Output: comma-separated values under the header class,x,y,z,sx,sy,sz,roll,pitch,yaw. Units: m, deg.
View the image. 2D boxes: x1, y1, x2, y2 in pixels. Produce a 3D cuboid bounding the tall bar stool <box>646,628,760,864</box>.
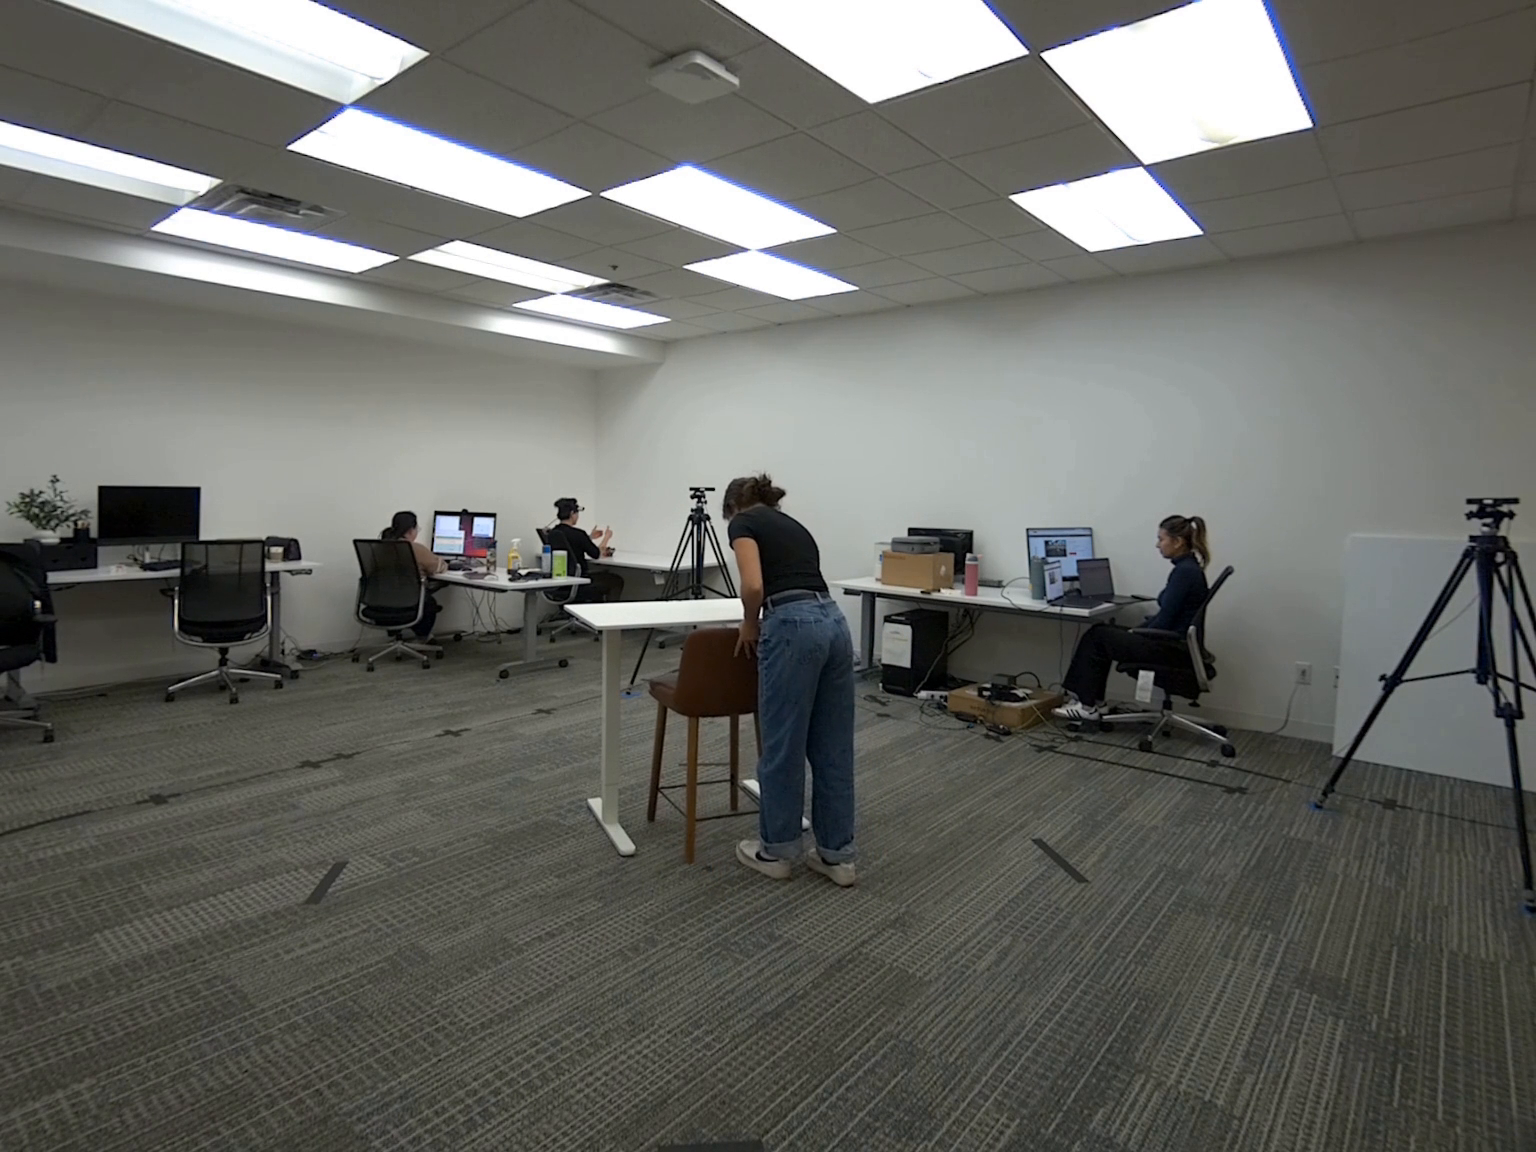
class,x,y,z,sx,sy,sz,roll,pitch,yaw
tall bar stool,-0.231,0.605,3.395,0.446,0.886,0.481,0,5,-25
